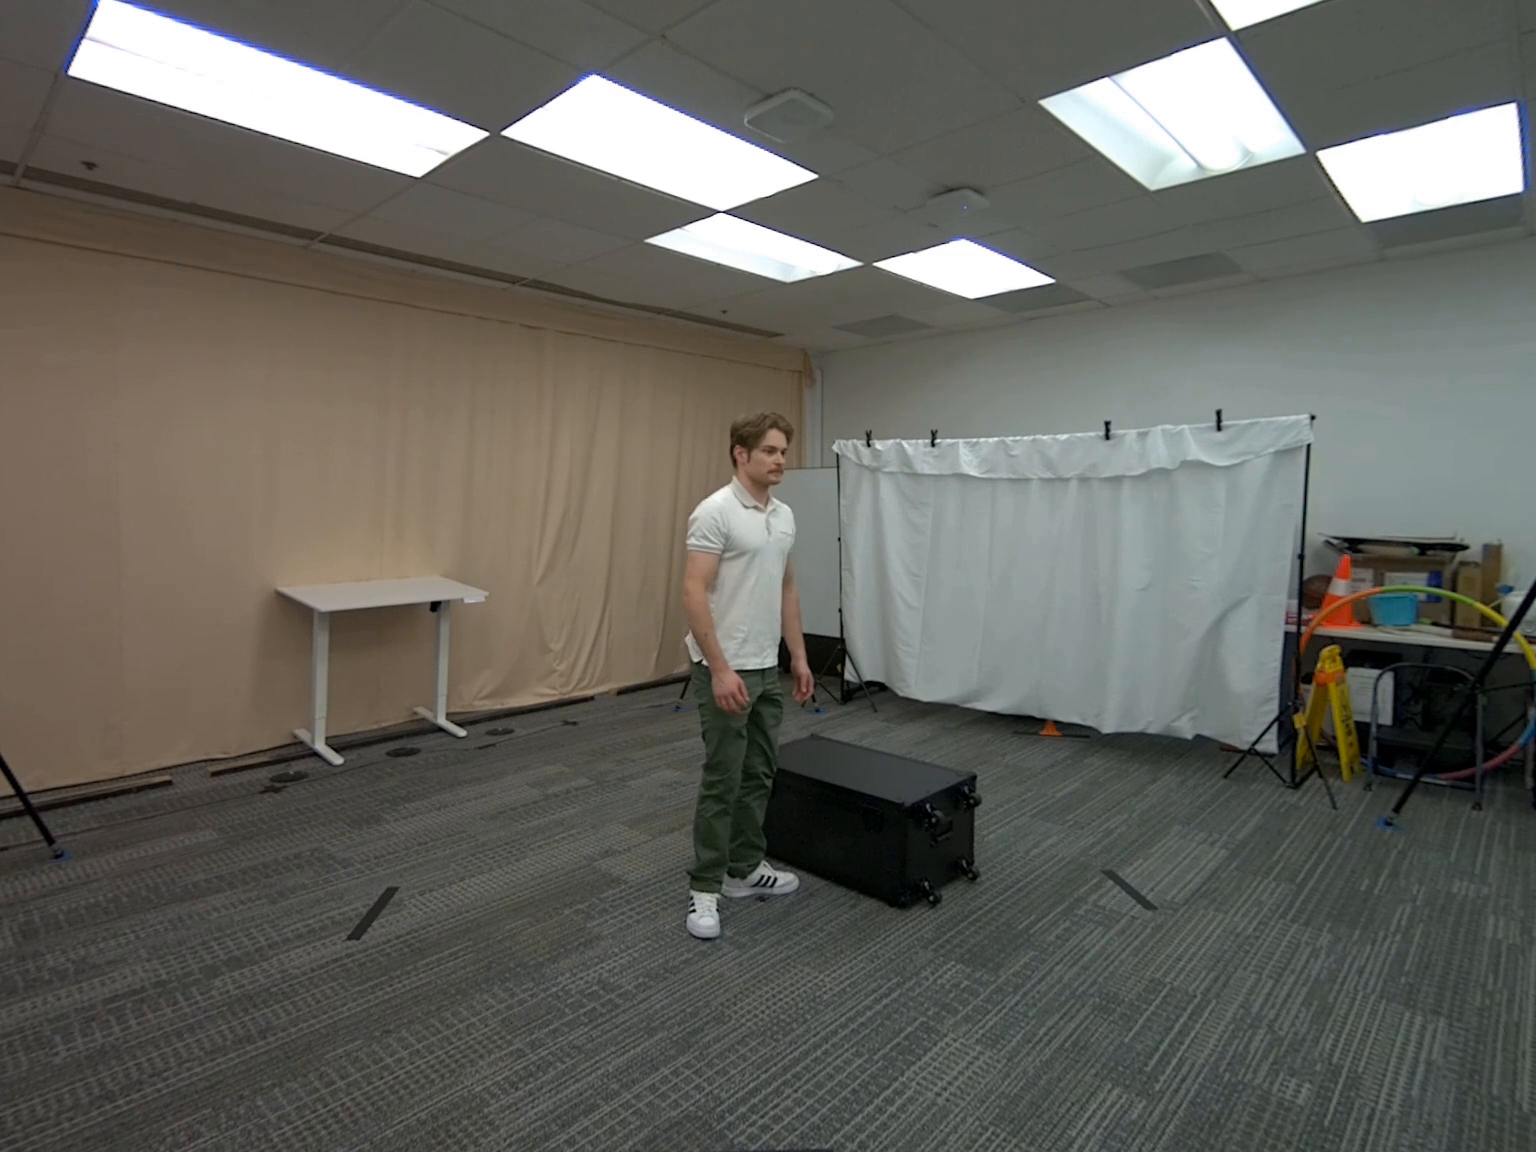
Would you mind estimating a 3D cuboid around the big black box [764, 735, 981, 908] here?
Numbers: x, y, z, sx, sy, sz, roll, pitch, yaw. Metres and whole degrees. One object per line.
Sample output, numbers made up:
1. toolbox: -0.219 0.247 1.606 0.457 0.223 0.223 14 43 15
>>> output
1. big black box: 0.365 0.922 3.277 0.898 0.384 0.507 5 5 43
